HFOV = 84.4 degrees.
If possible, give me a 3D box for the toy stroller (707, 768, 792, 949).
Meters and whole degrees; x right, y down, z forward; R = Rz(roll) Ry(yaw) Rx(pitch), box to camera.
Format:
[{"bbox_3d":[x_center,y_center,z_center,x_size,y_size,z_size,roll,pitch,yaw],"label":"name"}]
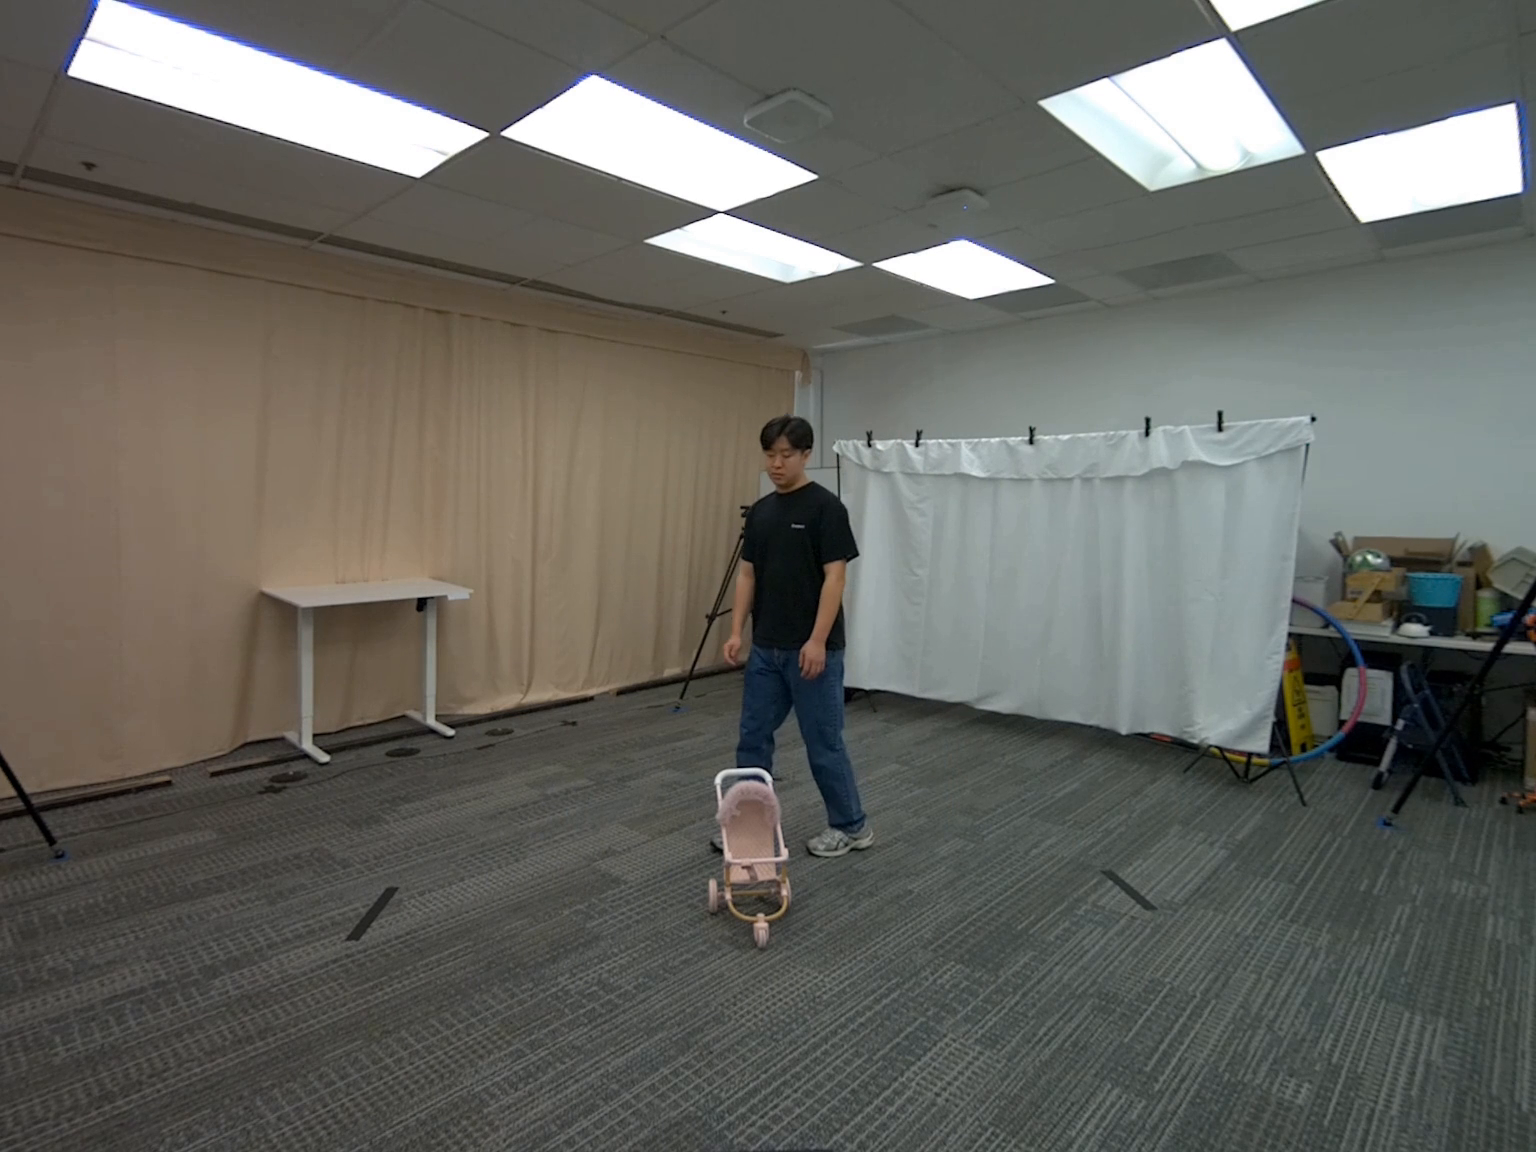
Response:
[{"bbox_3d":[-0.054,0.928,2.829,0.280,0.539,0.341,-1,-11,-6],"label":"toy stroller"}]
